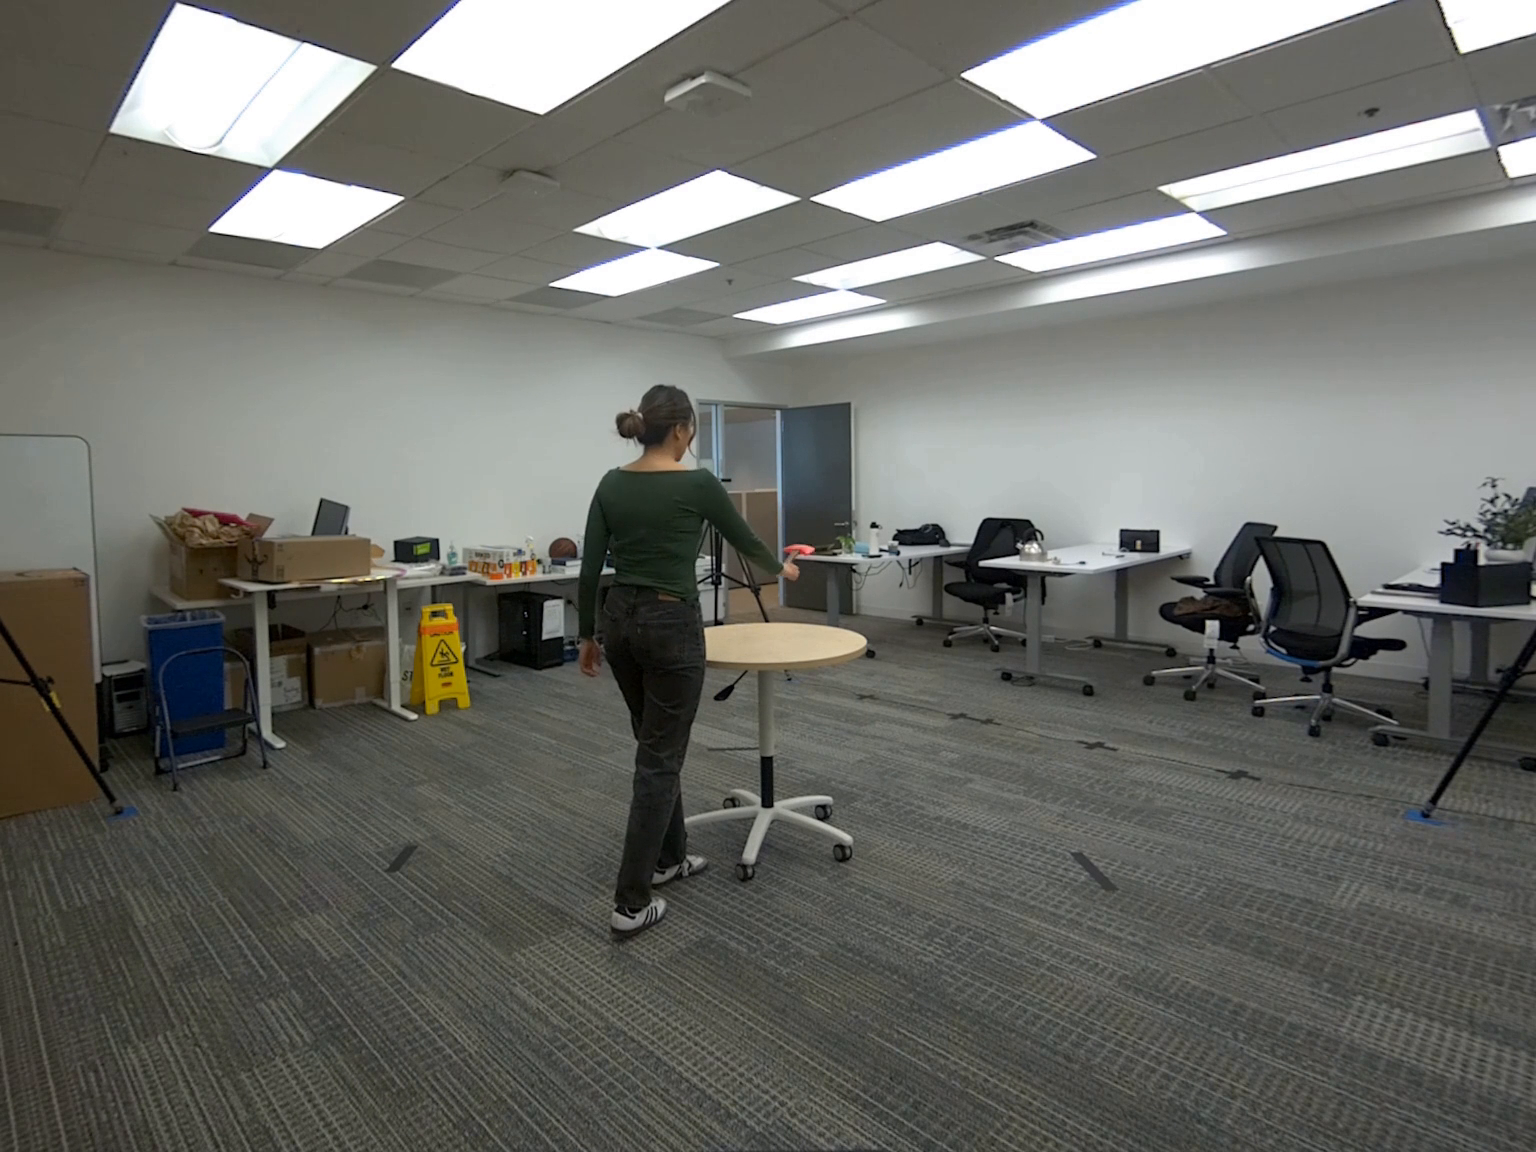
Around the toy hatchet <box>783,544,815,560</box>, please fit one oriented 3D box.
[{"bbox_3d":[0.112,-0.067,3.337,0.131,0.029,0.274,-4,20,2],"label":"toy hatchet"}]
